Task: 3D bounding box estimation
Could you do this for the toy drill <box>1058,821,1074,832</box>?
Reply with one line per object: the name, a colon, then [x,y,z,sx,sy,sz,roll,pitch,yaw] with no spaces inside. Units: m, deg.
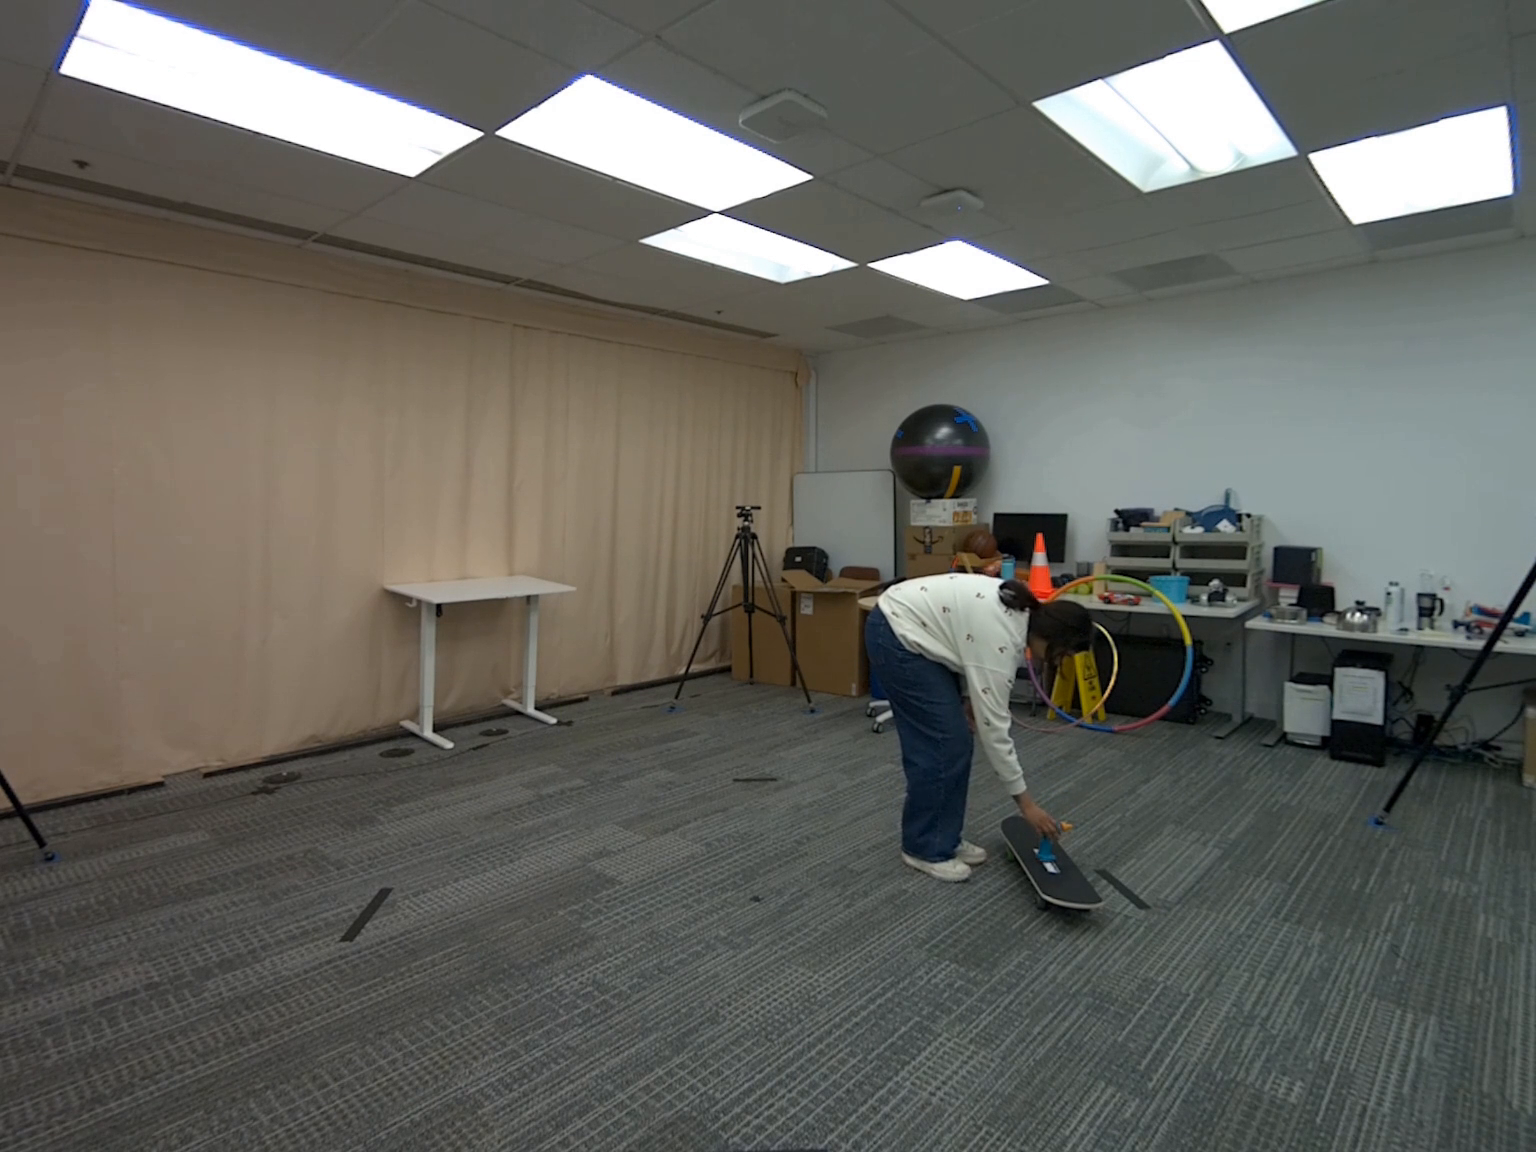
toy drill: [1.078,0.977,3.091,0.166,0.145,0.062,-1,6,-20]
